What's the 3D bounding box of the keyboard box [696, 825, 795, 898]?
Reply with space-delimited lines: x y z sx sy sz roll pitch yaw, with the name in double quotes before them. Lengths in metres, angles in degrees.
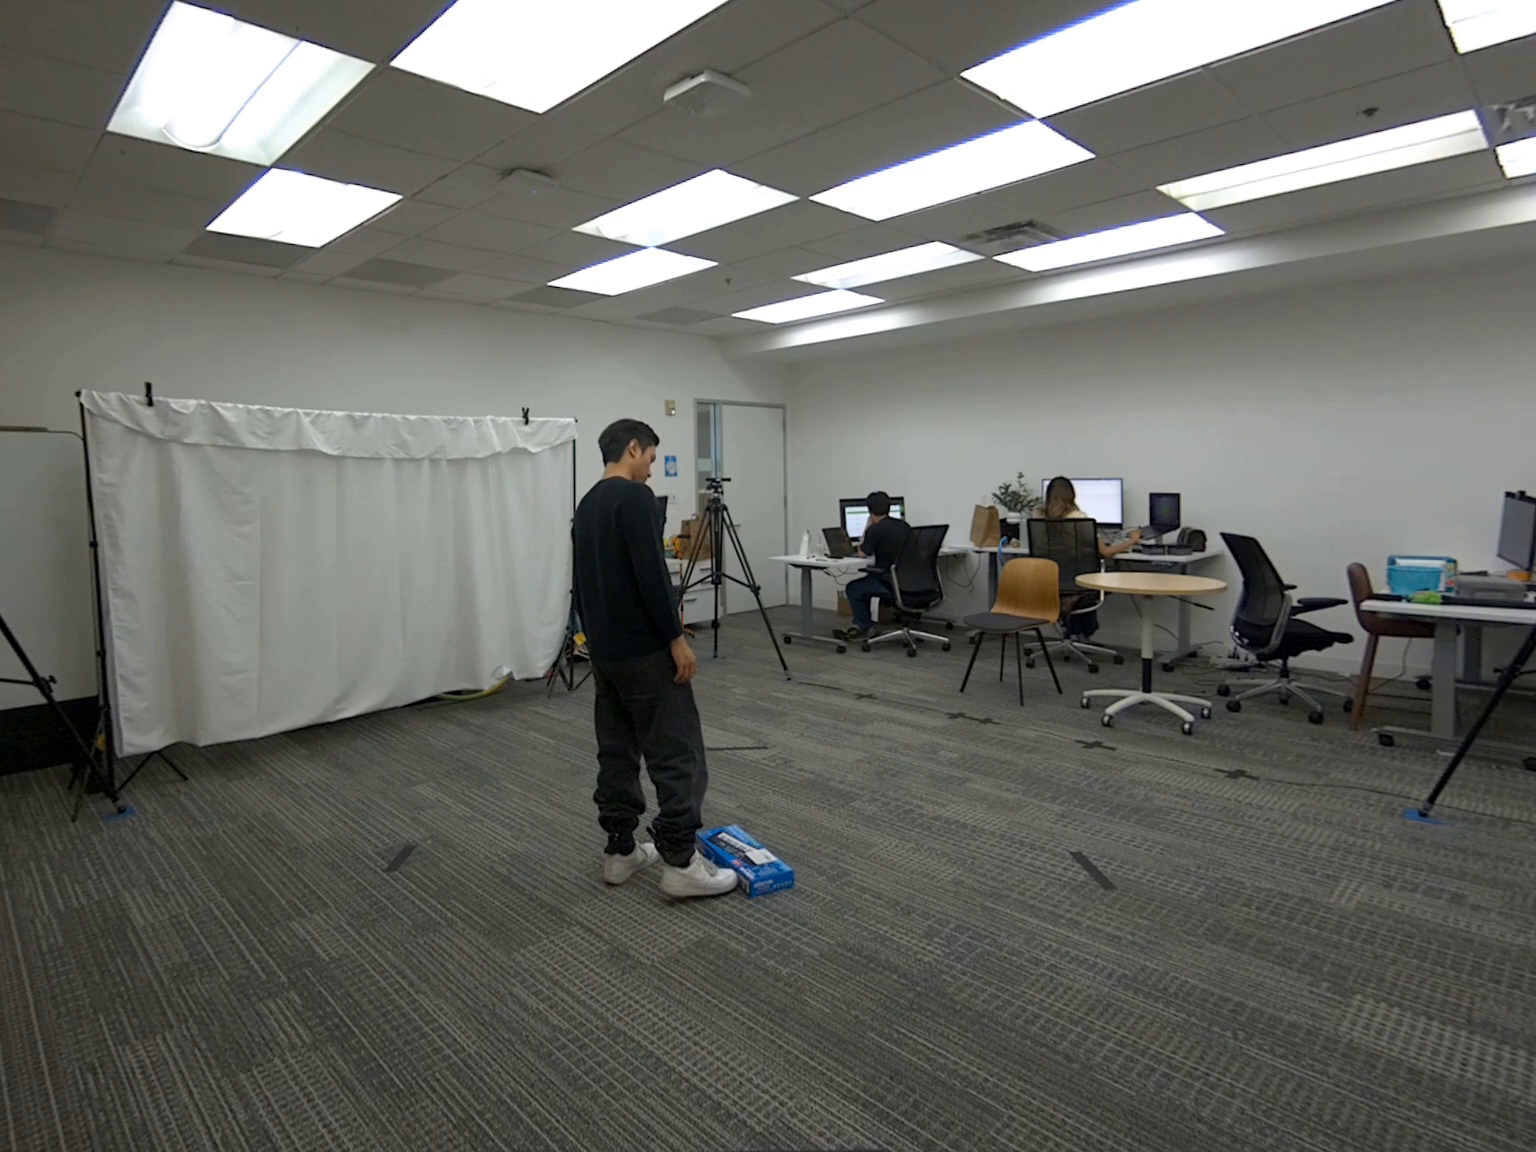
"keyboard box" -0.088 1.016 3.079 0.172 0.059 0.449 -4 8 -28
